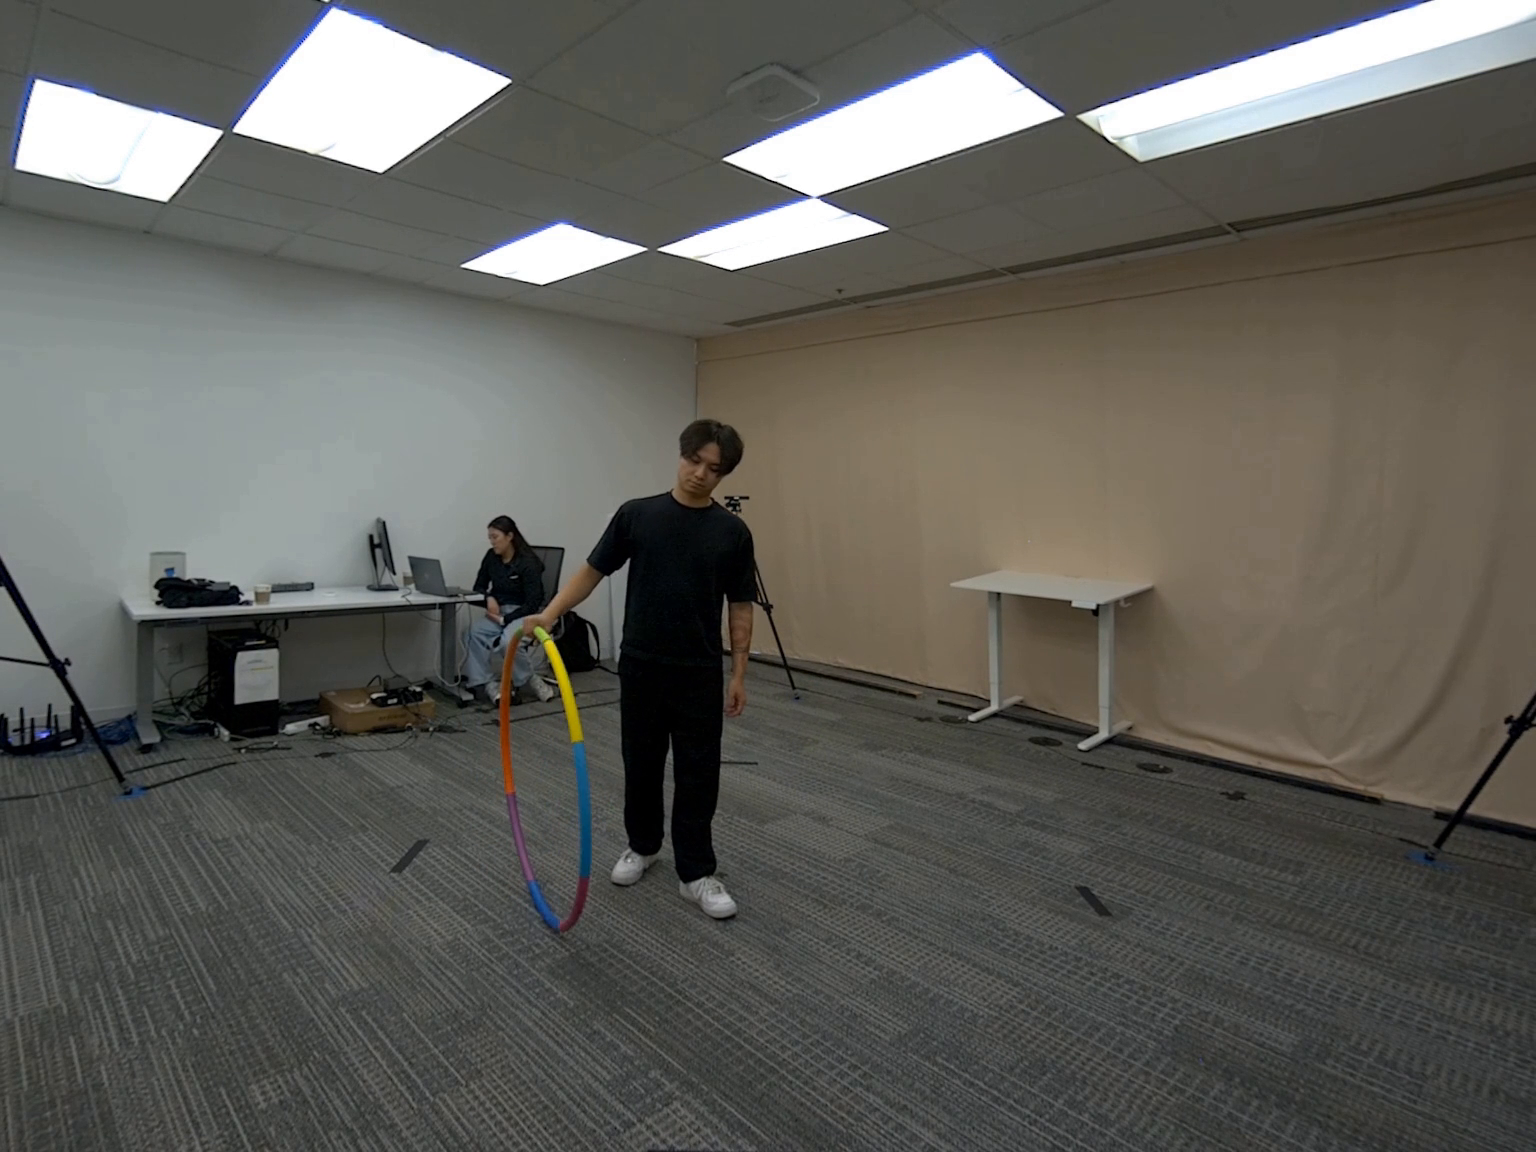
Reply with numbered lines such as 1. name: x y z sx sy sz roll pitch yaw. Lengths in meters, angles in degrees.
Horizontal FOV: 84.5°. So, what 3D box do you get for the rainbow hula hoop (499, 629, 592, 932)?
1. rainbow hula hoop: -0.743 0.641 2.745 0.035 0.975 1.000 -3 6 -29
